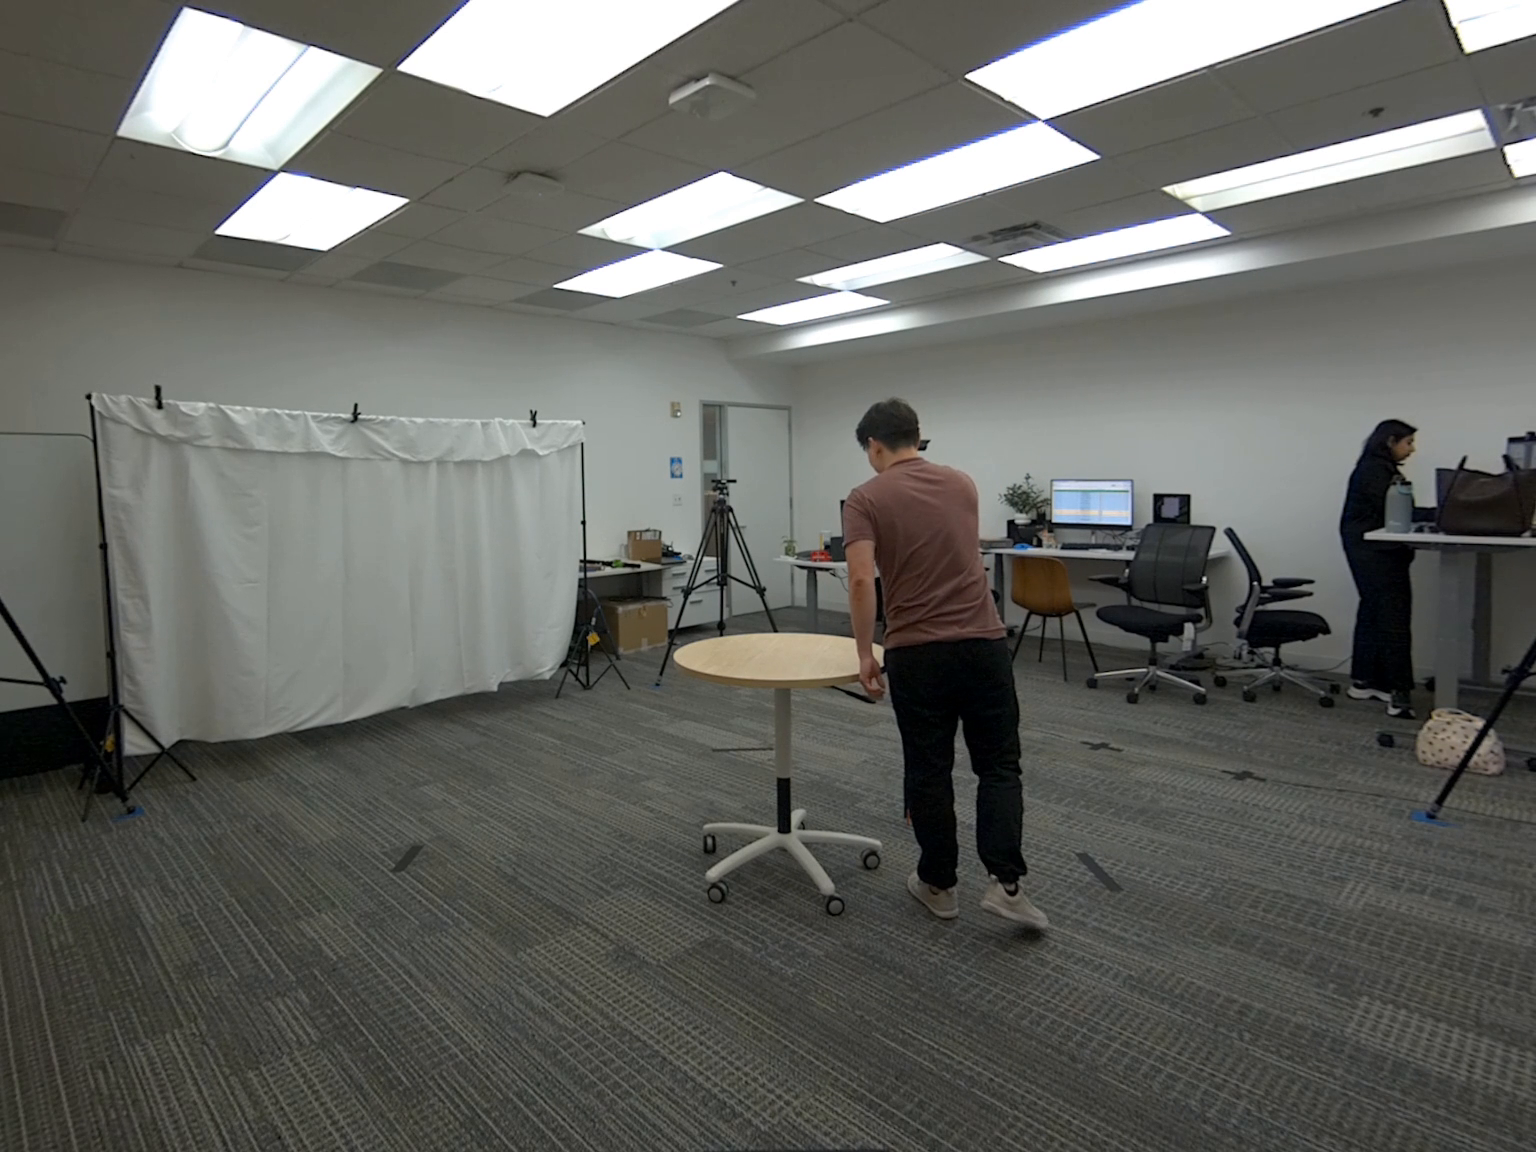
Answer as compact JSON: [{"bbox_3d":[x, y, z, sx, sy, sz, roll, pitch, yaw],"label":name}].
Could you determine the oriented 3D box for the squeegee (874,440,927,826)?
[{"bbox_3d":[0.543,0.231,3.393,0.054,1.533,0.426,1,4,41],"label":"squeegee"}]
